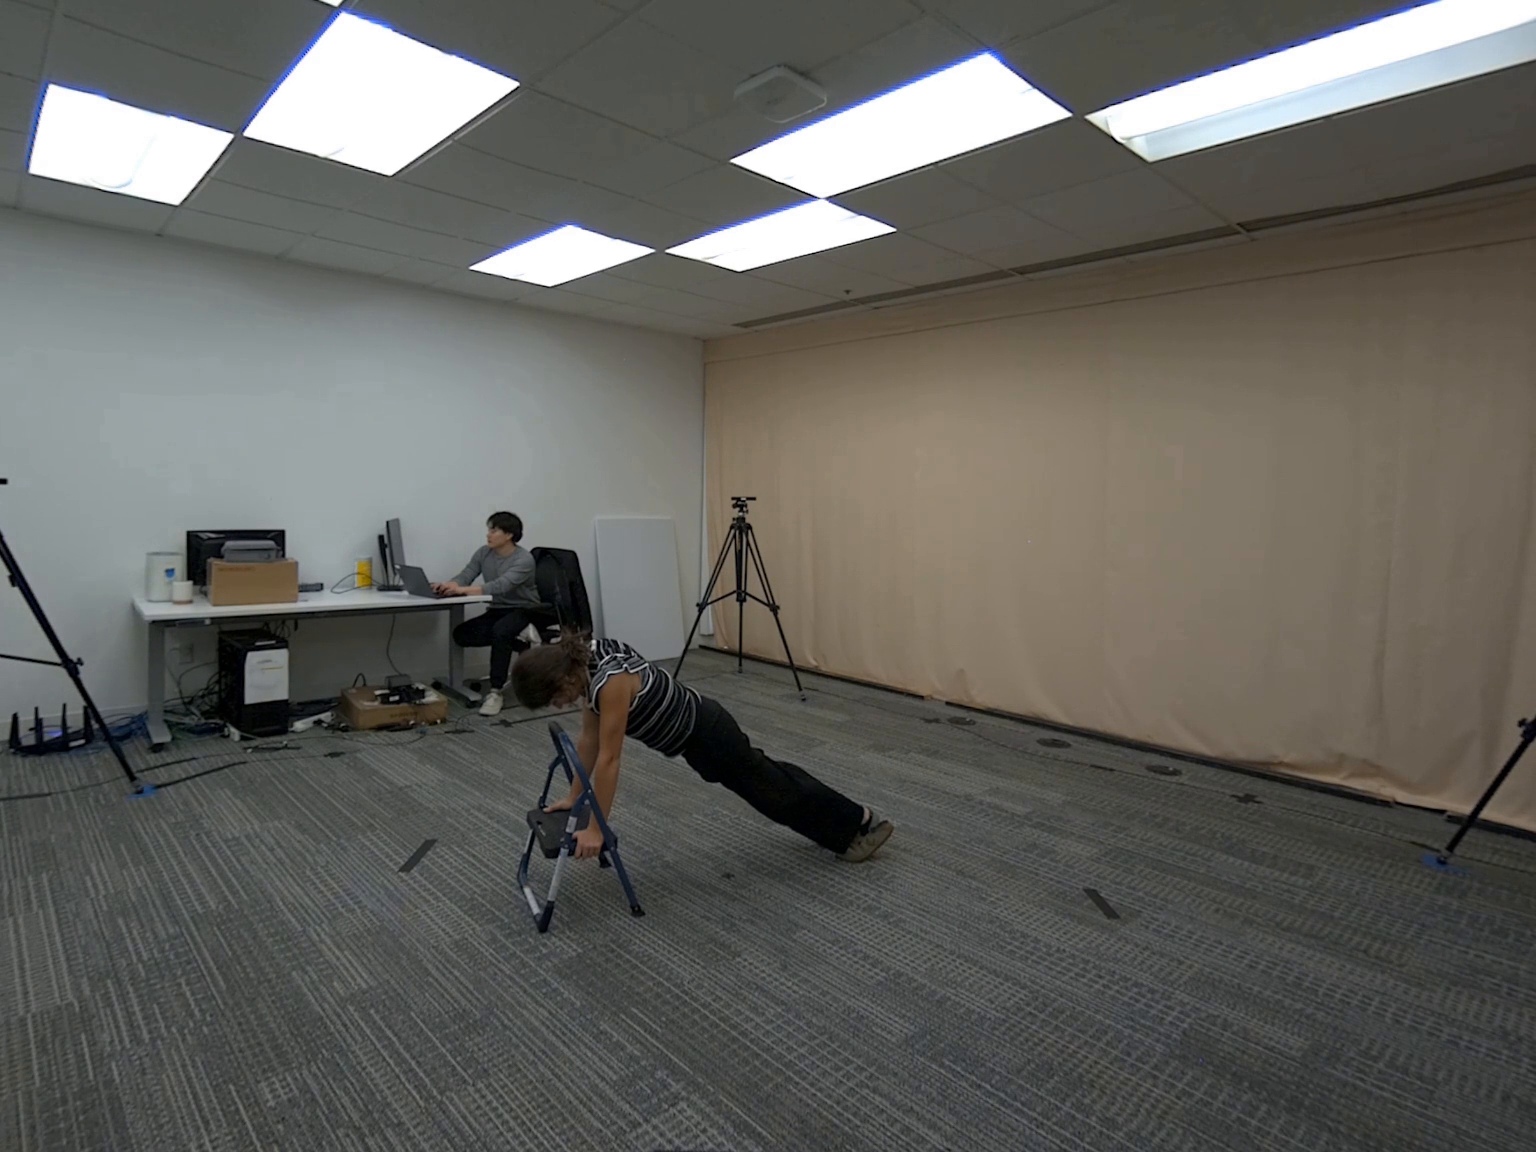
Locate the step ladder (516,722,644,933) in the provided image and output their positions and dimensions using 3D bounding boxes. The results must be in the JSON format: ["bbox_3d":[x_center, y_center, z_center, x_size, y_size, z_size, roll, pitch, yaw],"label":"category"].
[{"bbox_3d":[-0.662,0.814,2.900,0.343,0.604,0.440,-1,4,-27],"label":"step ladder"}]
